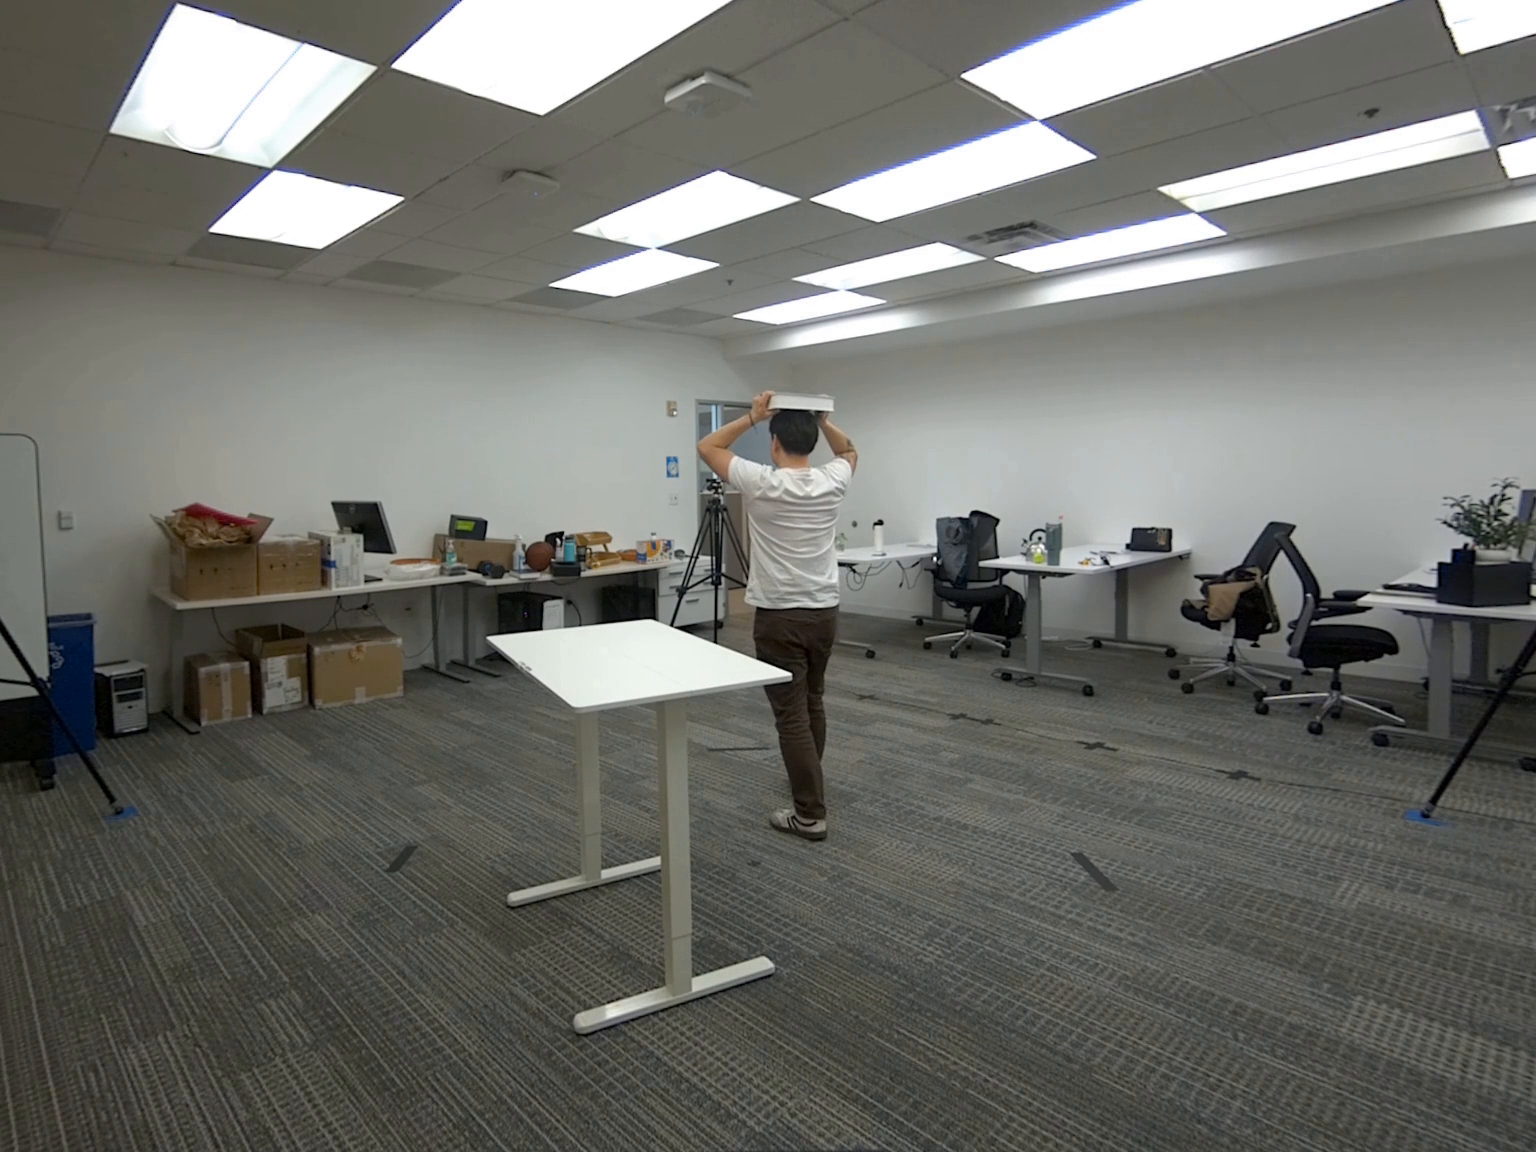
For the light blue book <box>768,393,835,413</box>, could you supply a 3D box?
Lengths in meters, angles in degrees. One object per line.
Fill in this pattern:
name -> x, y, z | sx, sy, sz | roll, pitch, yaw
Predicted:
light blue book -> 0.111, -0.695, 3.444 | 0.255, 0.059, 0.196 | -2, 6, -25
